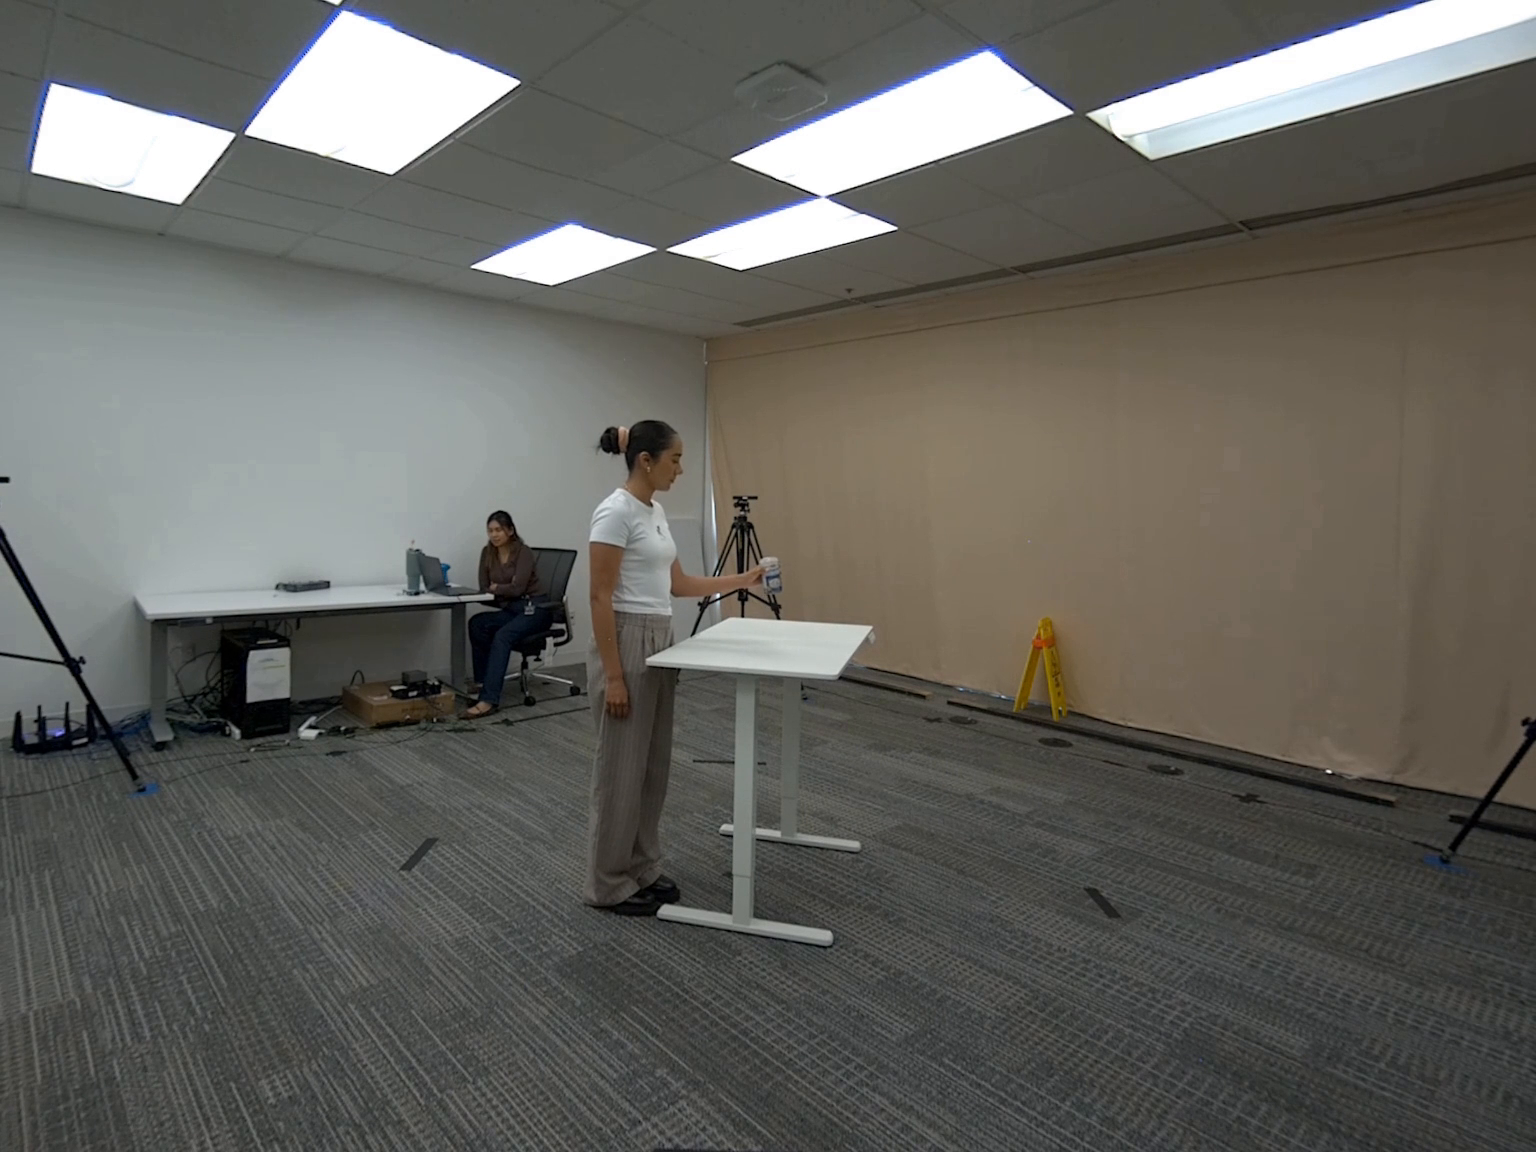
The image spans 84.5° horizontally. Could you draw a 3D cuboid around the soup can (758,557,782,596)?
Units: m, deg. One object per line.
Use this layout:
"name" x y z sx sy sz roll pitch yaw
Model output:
"soup can" -0.004 -0.006 2.974 0.067 0.120 0.068 -3 11 -1
